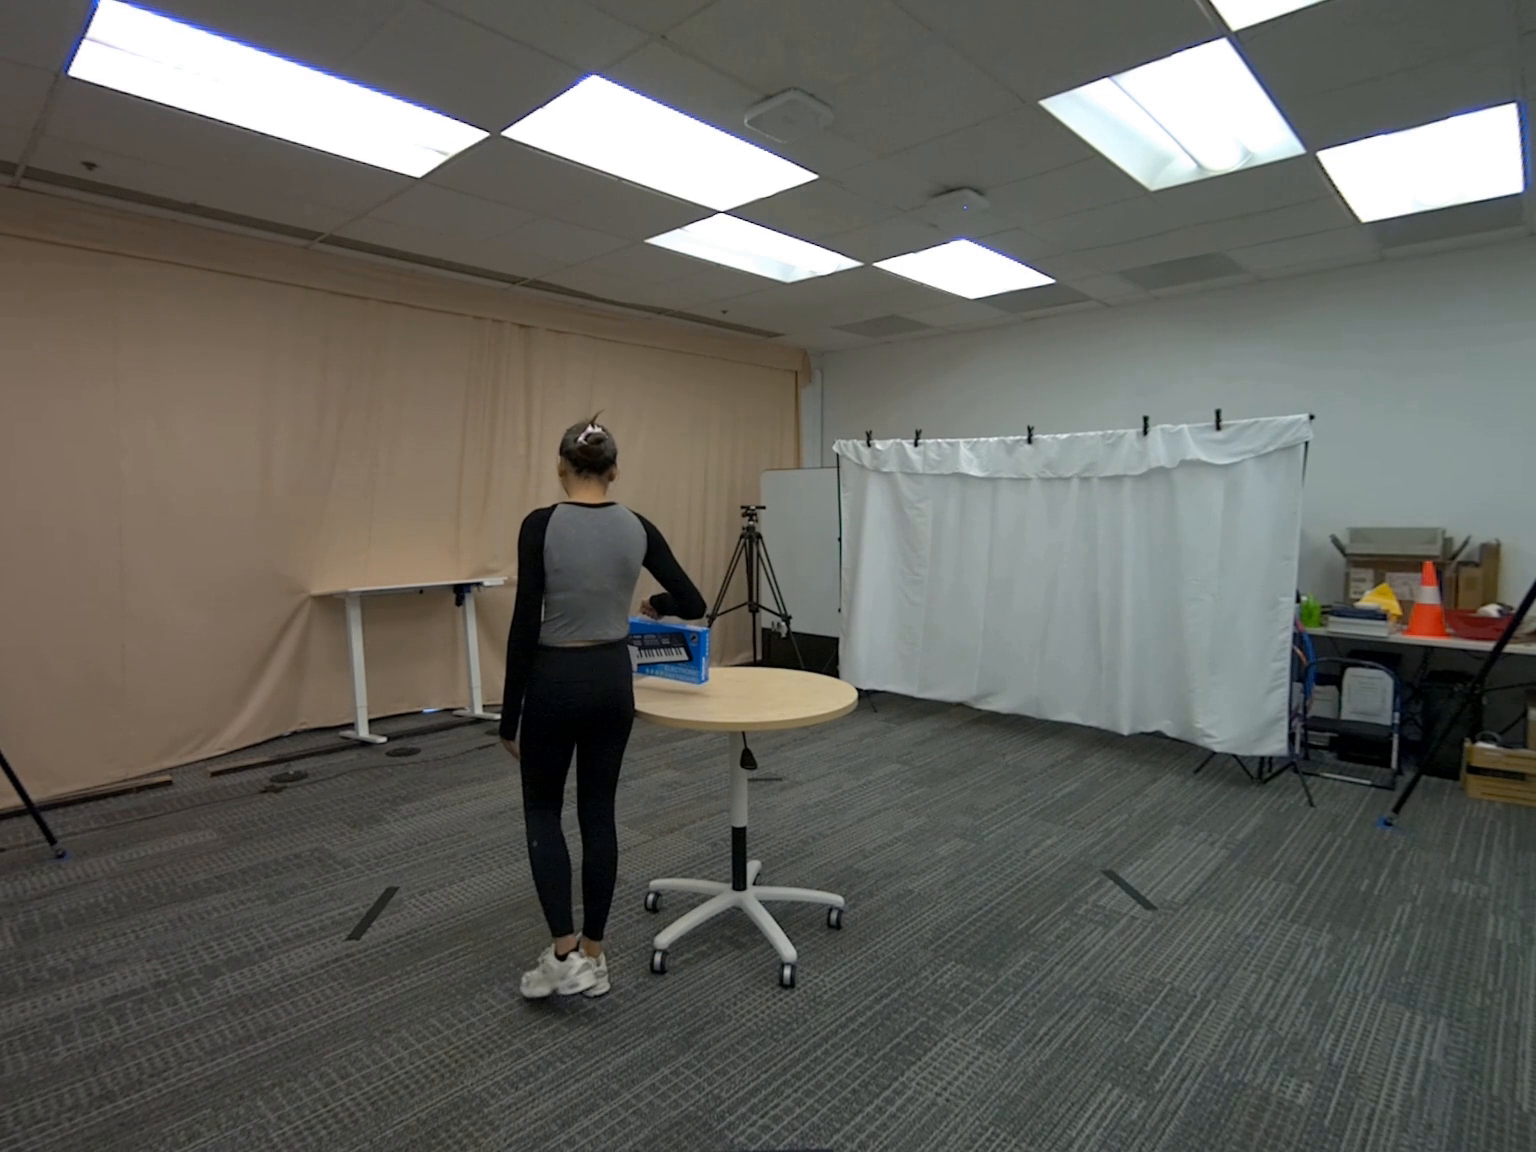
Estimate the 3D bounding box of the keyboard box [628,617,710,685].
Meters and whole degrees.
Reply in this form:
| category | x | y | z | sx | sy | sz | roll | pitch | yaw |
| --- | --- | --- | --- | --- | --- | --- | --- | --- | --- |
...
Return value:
| category | x | y | z | sx | sy | sz | roll | pitch | yaw |
| --- | --- | --- | --- | --- | --- | --- | --- | --- | --- |
| keyboard box | -0.393 | 0.238 | 2.761 | 0.449 | 0.175 | 0.057 | 6 | 7 | 28 |
